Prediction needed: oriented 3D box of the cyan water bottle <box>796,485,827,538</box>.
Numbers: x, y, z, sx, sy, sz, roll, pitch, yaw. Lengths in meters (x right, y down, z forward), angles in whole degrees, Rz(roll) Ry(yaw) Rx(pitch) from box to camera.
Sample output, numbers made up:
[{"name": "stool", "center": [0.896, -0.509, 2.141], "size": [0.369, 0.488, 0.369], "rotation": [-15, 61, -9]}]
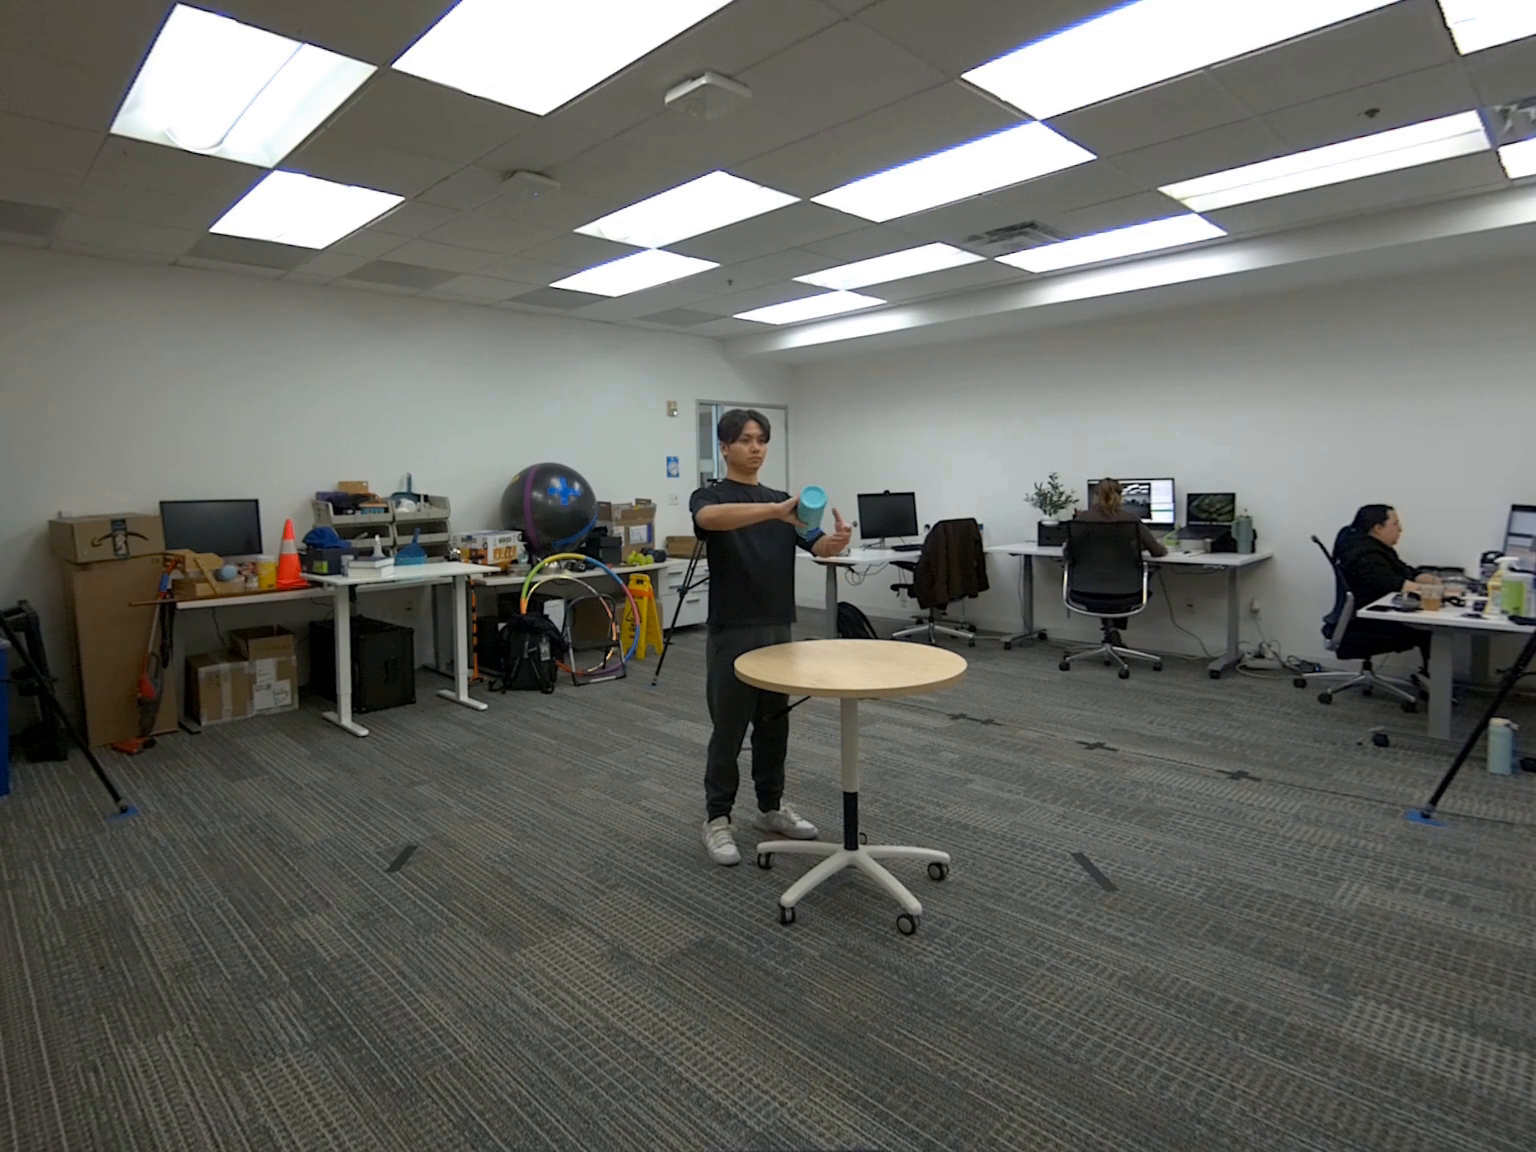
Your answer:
[{"name": "cyan water bottle", "center": [0.138, -0.201, 2.885], "size": [0.092, 0.094, 0.277], "rotation": [0, -23, 2]}]
